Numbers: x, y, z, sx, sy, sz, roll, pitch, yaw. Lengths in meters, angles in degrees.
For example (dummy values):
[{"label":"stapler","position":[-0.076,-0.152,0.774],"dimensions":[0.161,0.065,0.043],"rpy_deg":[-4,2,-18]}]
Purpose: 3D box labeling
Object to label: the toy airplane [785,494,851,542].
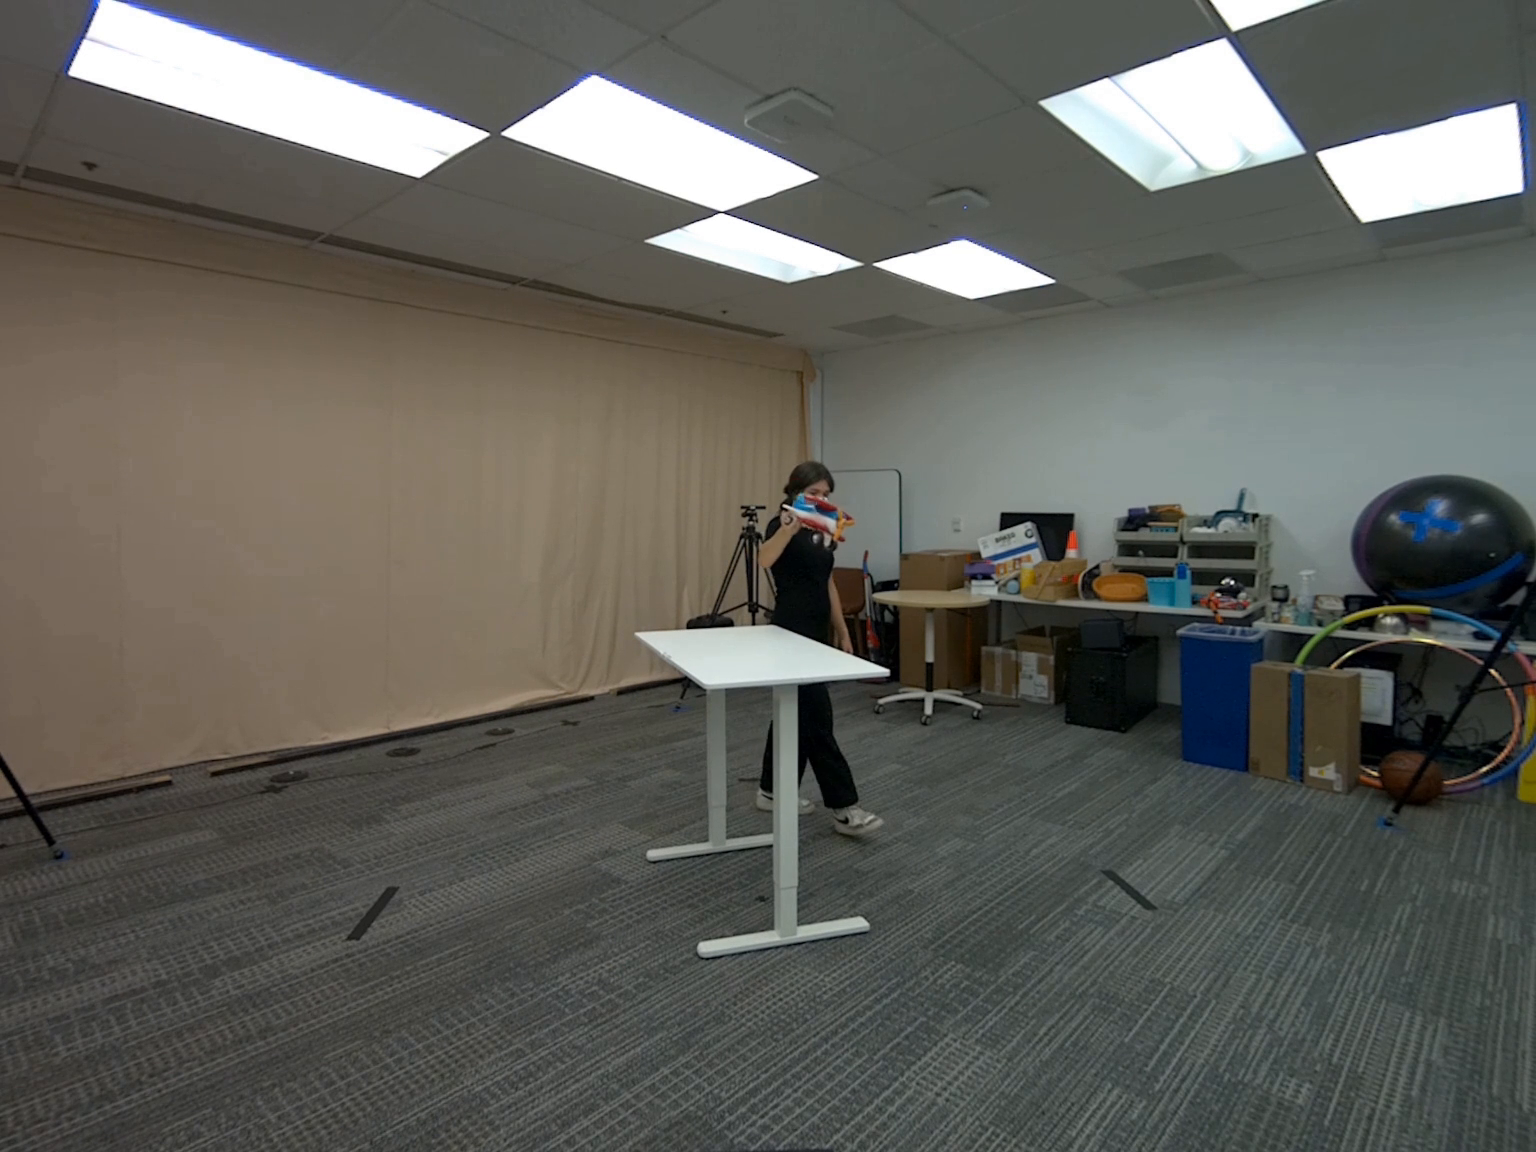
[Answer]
[{"label":"toy airplane","position":[0.173,-0.199,3.057],"dimensions":[0.264,0.156,0.246],"rpy_deg":[35,7,14]}]
